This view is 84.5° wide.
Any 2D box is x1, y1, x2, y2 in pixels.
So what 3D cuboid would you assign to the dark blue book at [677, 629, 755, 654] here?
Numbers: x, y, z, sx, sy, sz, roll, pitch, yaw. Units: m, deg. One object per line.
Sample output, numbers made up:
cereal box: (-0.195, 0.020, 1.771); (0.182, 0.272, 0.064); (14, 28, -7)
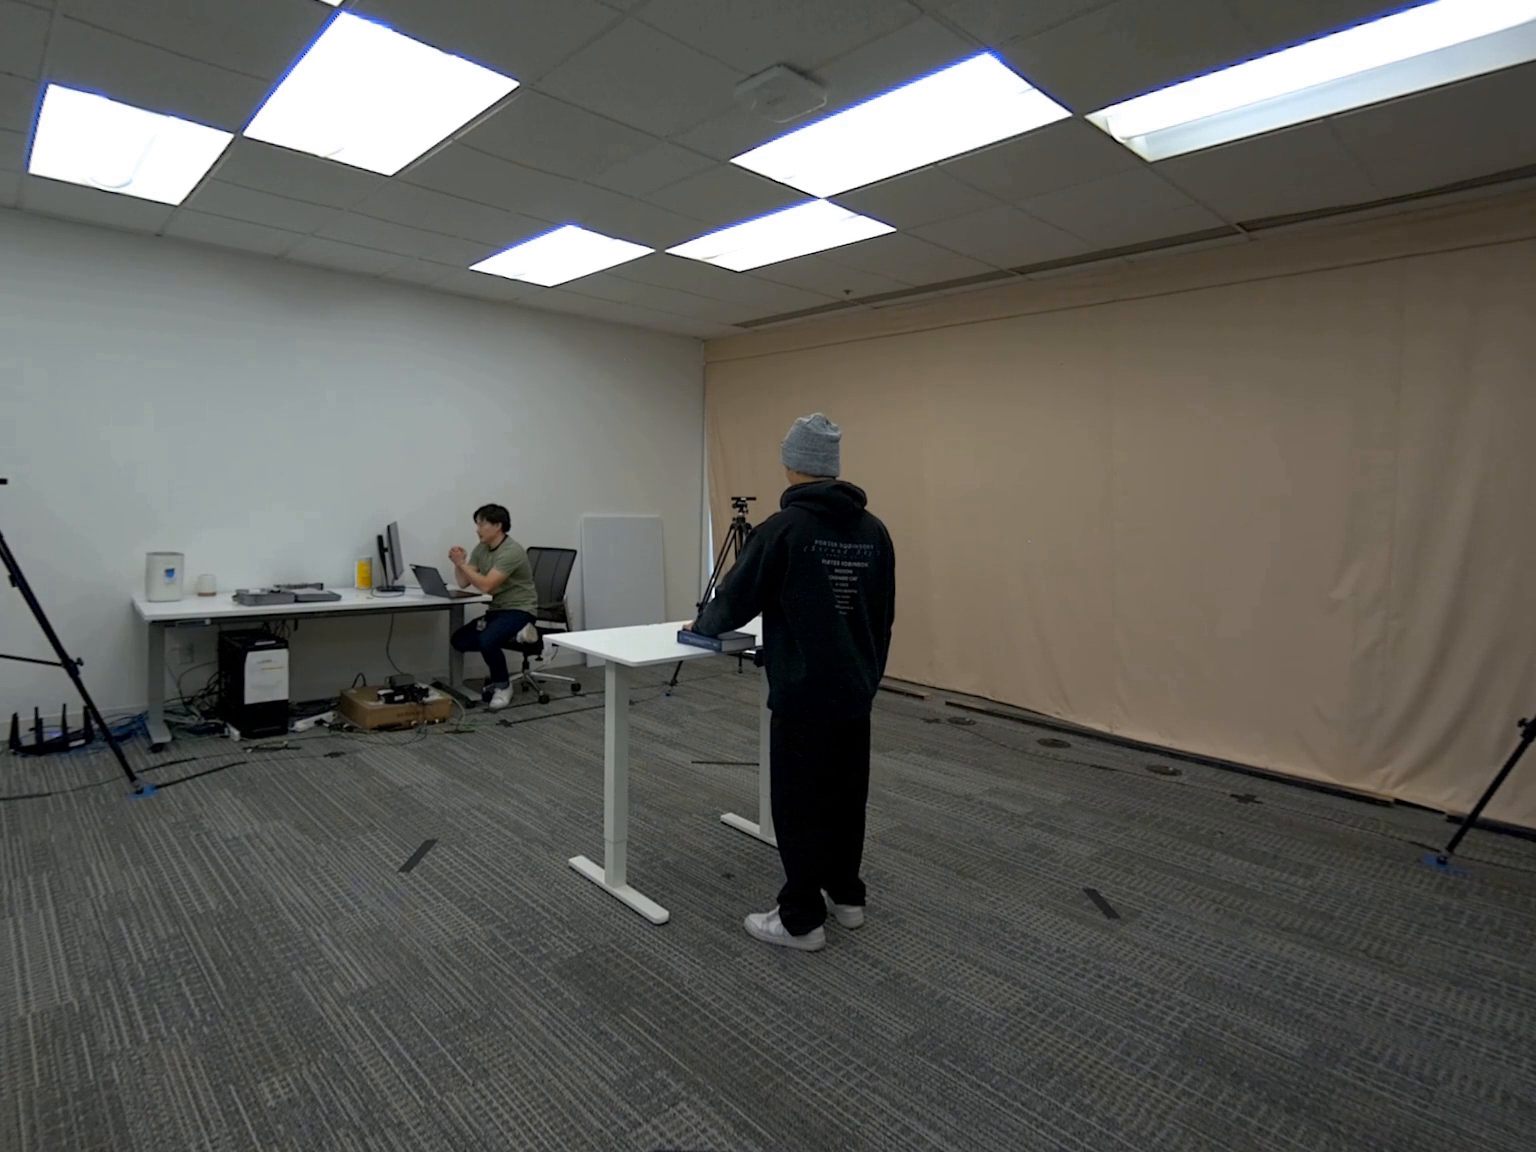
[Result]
dark blue book: (-0.176, 0.223, 2.908); (0.160, 0.045, 0.251); (-4, 7, -40)
